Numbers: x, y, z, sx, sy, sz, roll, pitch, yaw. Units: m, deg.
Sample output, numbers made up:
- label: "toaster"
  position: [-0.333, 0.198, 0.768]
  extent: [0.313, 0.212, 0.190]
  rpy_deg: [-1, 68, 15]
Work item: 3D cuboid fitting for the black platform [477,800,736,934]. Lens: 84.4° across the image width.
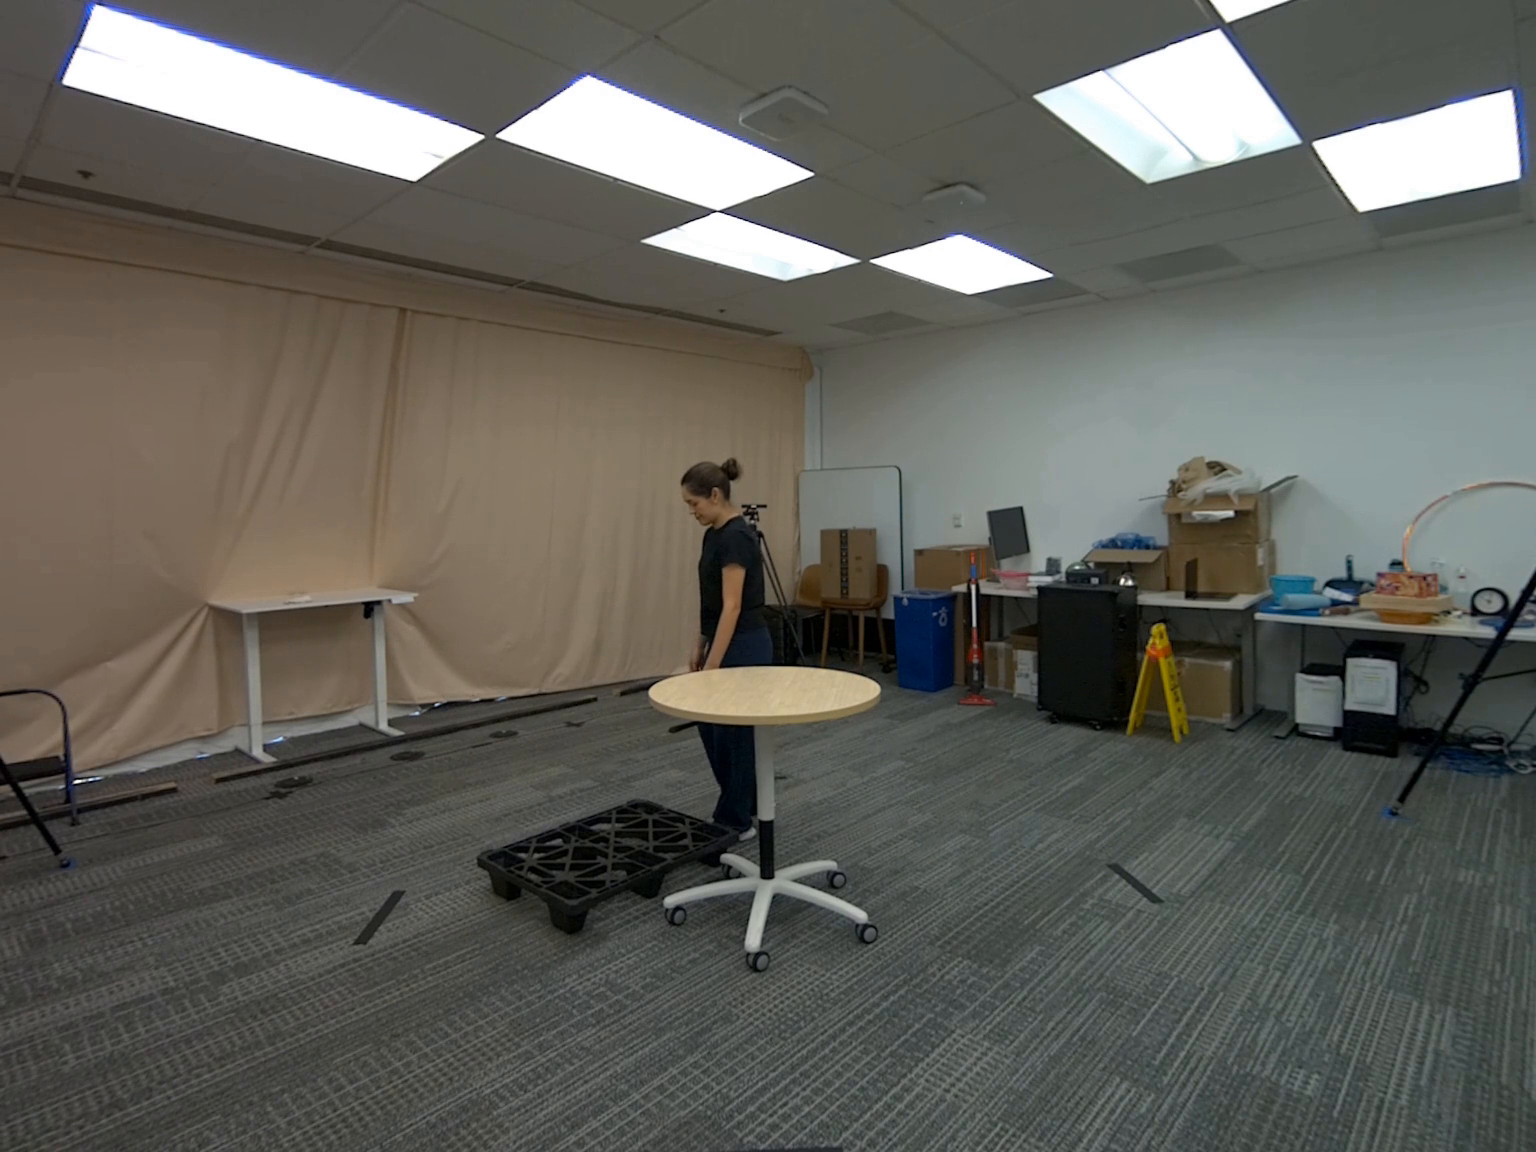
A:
- label: "black platform"
  position: [-0.572, 1.071, 3.164]
  extent: [0.625, 0.143, 0.781]
  rpy_deg: [4, 7, 42]
